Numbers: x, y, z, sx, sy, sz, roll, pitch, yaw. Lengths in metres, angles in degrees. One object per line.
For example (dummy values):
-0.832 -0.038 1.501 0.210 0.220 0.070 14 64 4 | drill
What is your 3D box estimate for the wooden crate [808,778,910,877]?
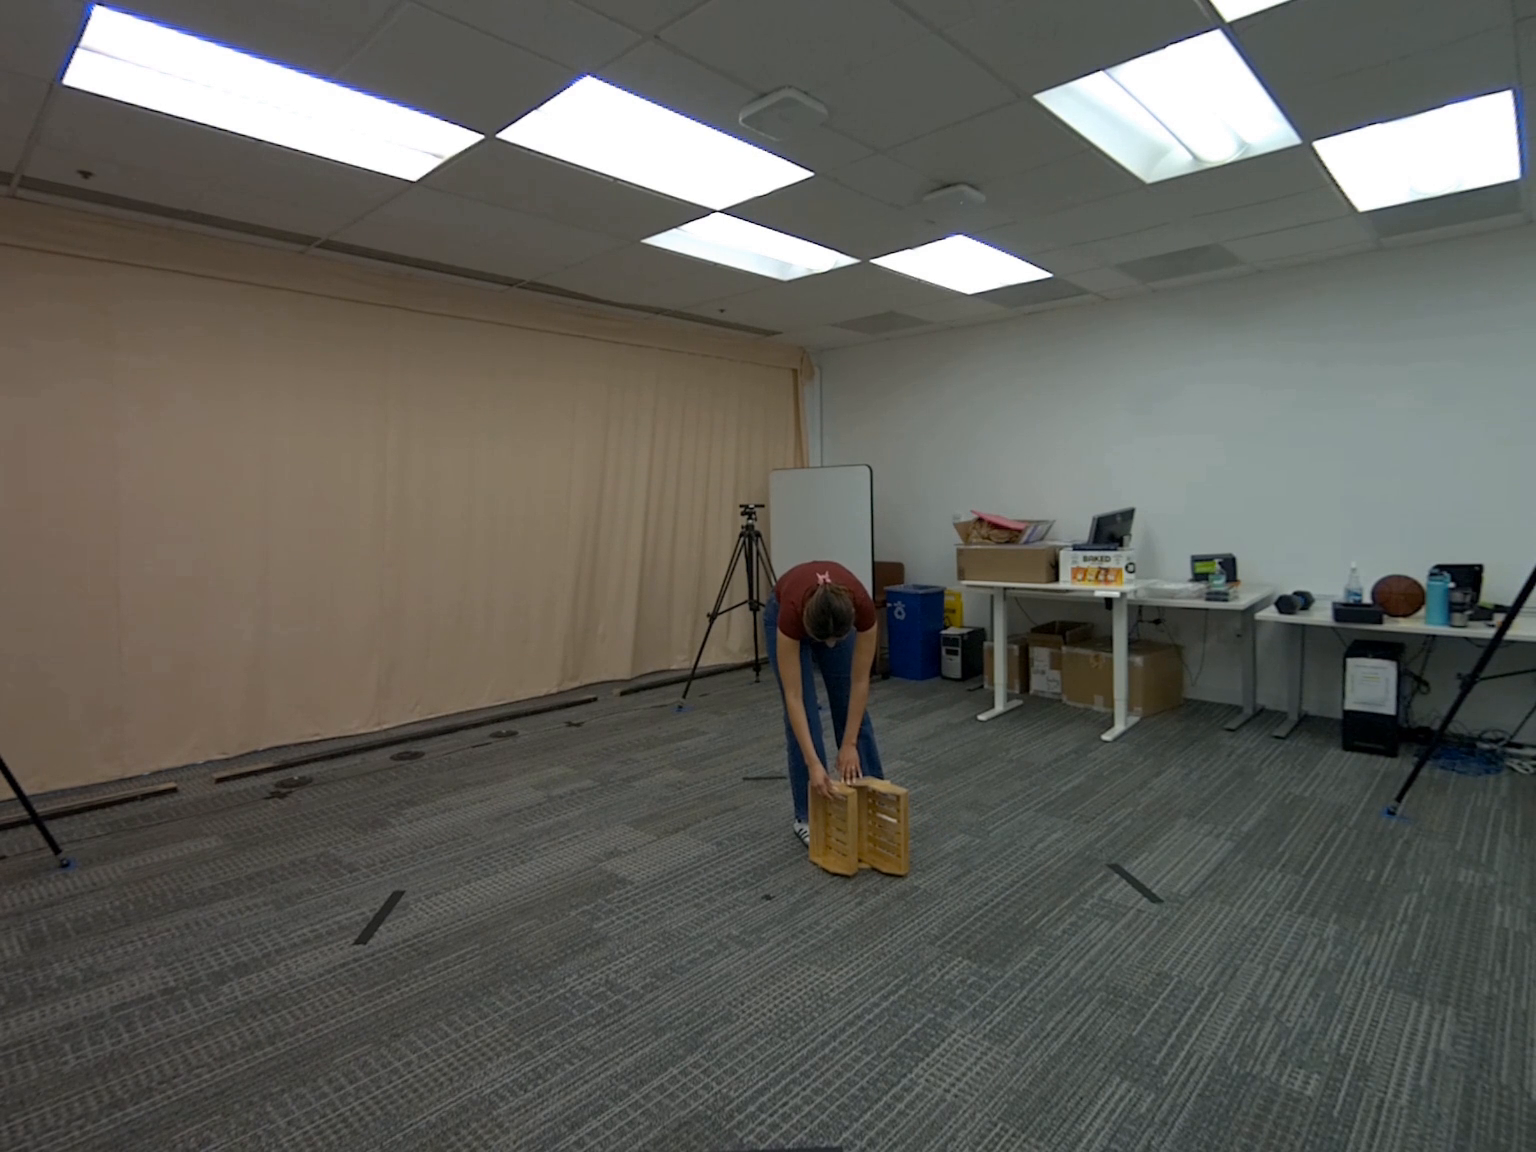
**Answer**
0.344 0.945 3.195 0.266 0.324 0.310 -1 0 -28 | wooden crate
